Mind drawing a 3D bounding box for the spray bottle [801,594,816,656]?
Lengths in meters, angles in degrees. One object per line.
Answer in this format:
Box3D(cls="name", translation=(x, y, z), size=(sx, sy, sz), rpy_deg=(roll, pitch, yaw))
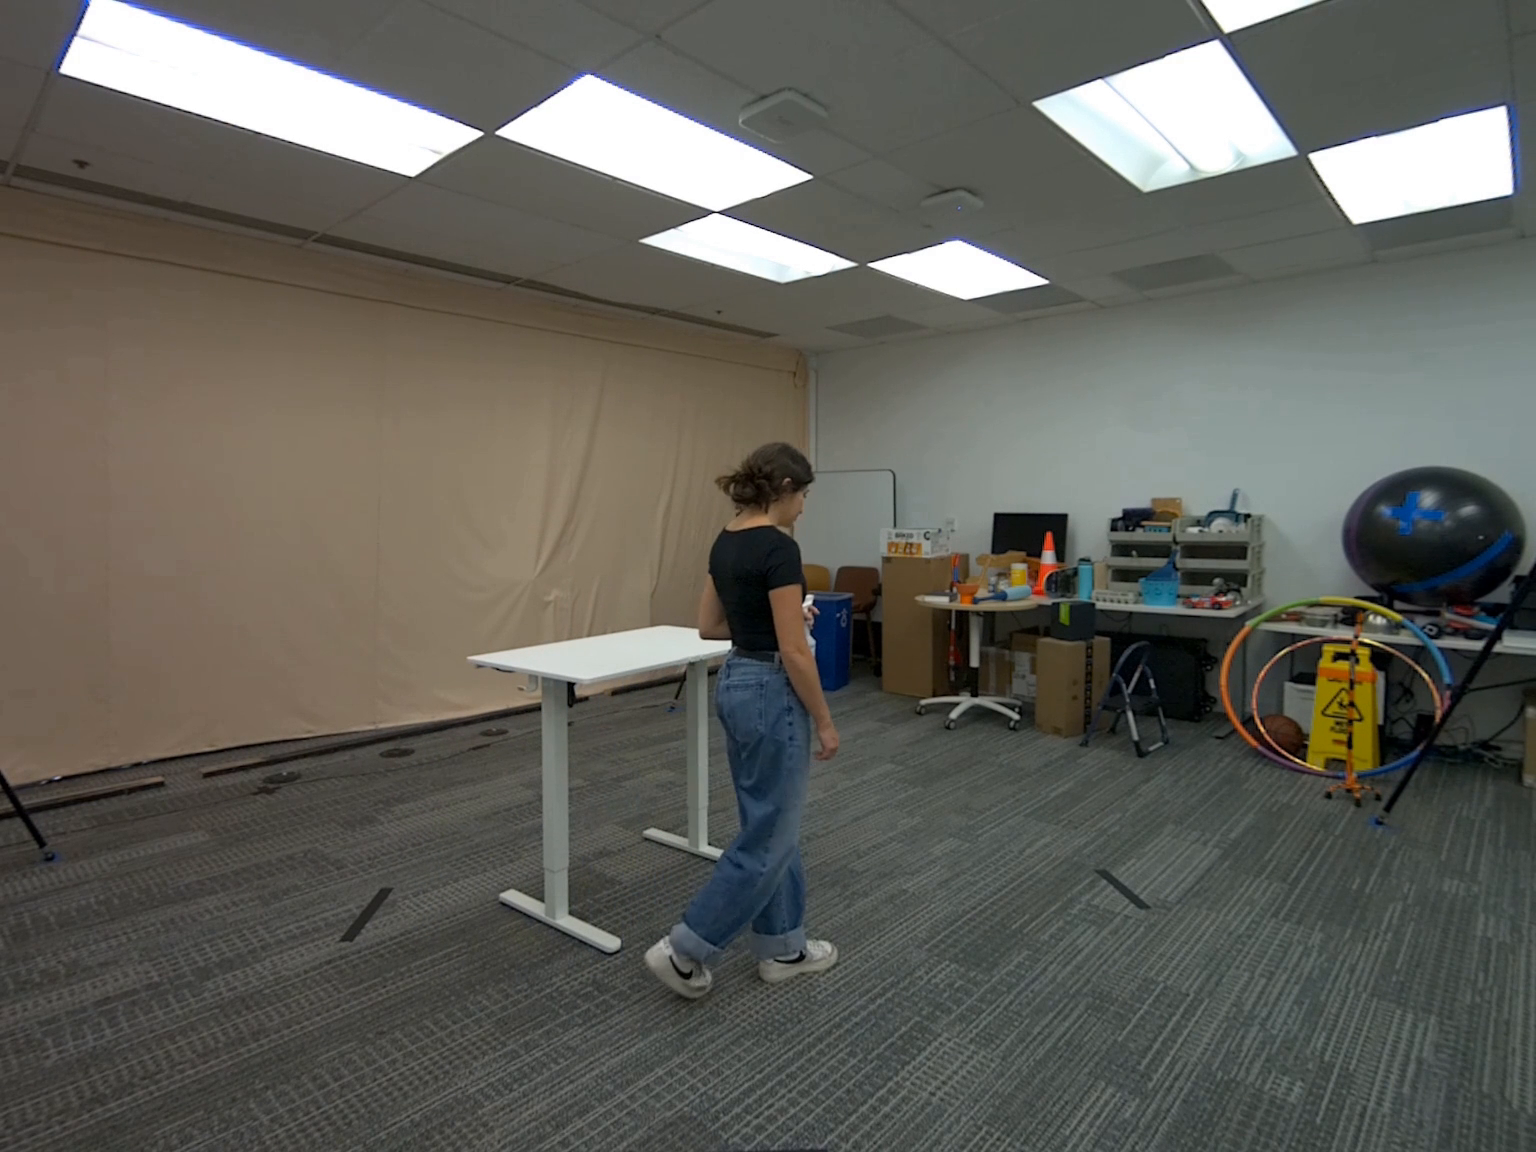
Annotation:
Box3D(cls="spray bottle", translation=(0.100, 0.213, 2.590), size=(0.087, 0.296, 0.090), rpy_deg=(1, 7, -29))
